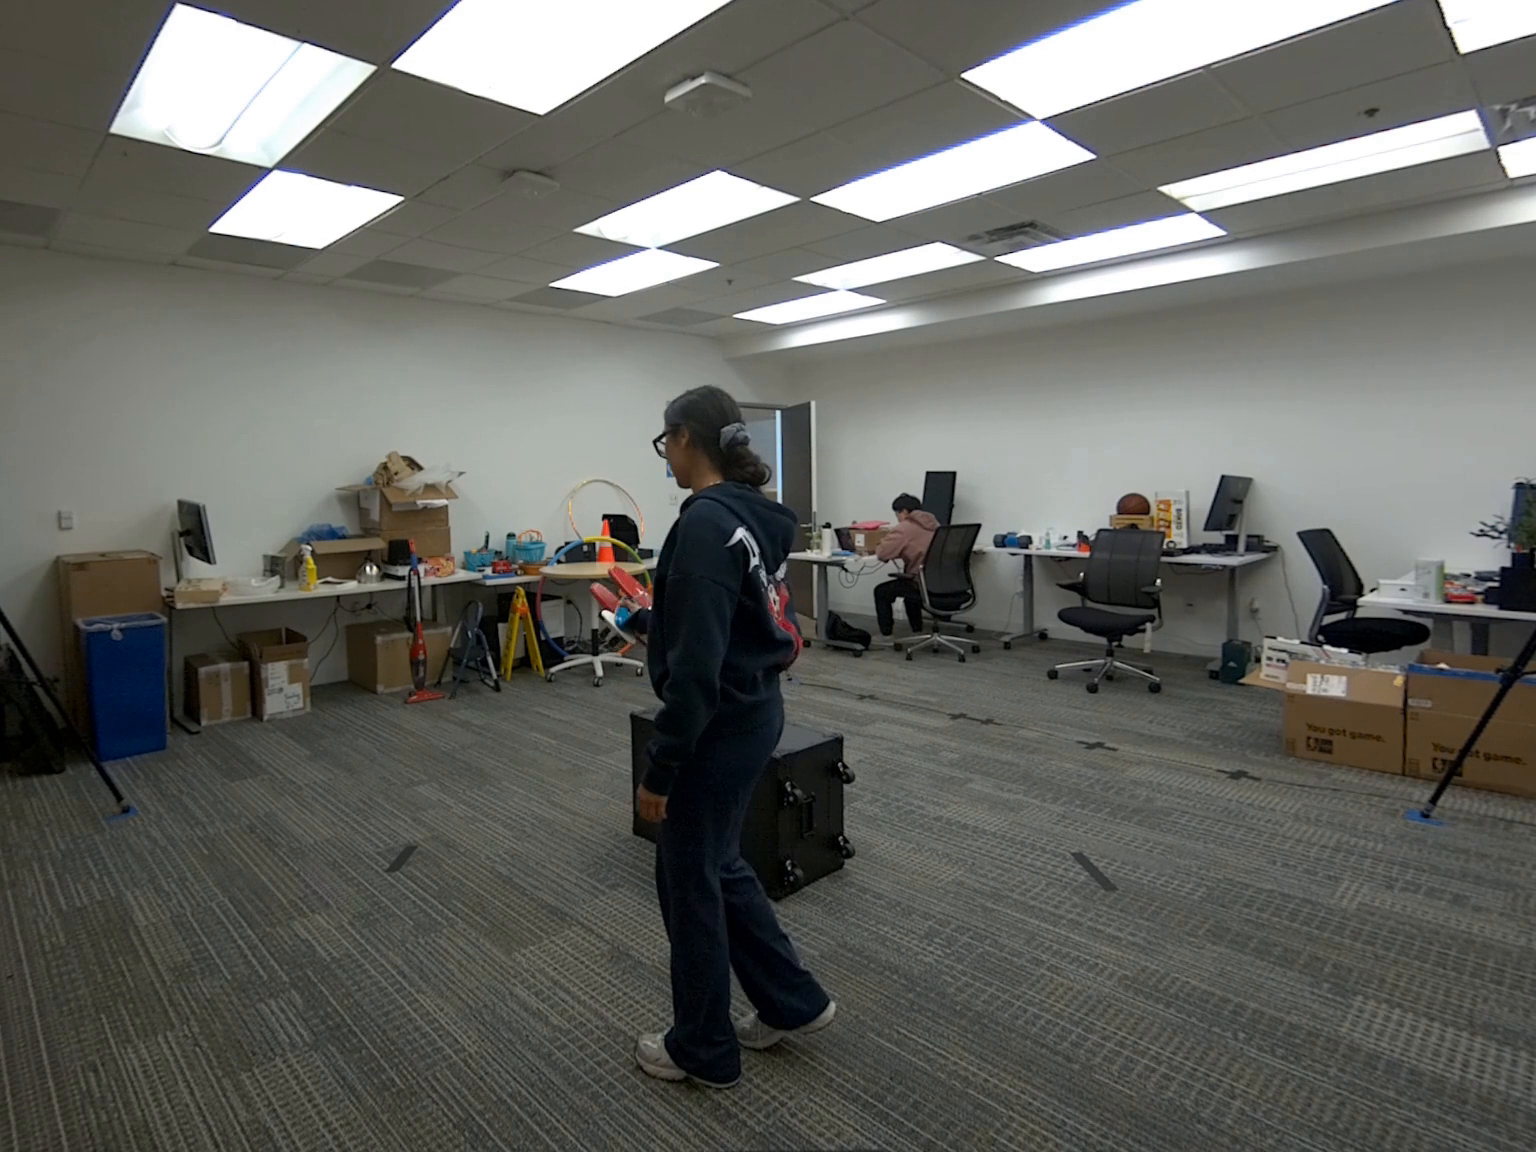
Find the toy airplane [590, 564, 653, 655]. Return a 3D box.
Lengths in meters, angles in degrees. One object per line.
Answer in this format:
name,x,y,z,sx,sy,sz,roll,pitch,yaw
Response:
toy airplane,-0.383,0.123,2.372,0.242,0.156,0.269,44,1,-34
